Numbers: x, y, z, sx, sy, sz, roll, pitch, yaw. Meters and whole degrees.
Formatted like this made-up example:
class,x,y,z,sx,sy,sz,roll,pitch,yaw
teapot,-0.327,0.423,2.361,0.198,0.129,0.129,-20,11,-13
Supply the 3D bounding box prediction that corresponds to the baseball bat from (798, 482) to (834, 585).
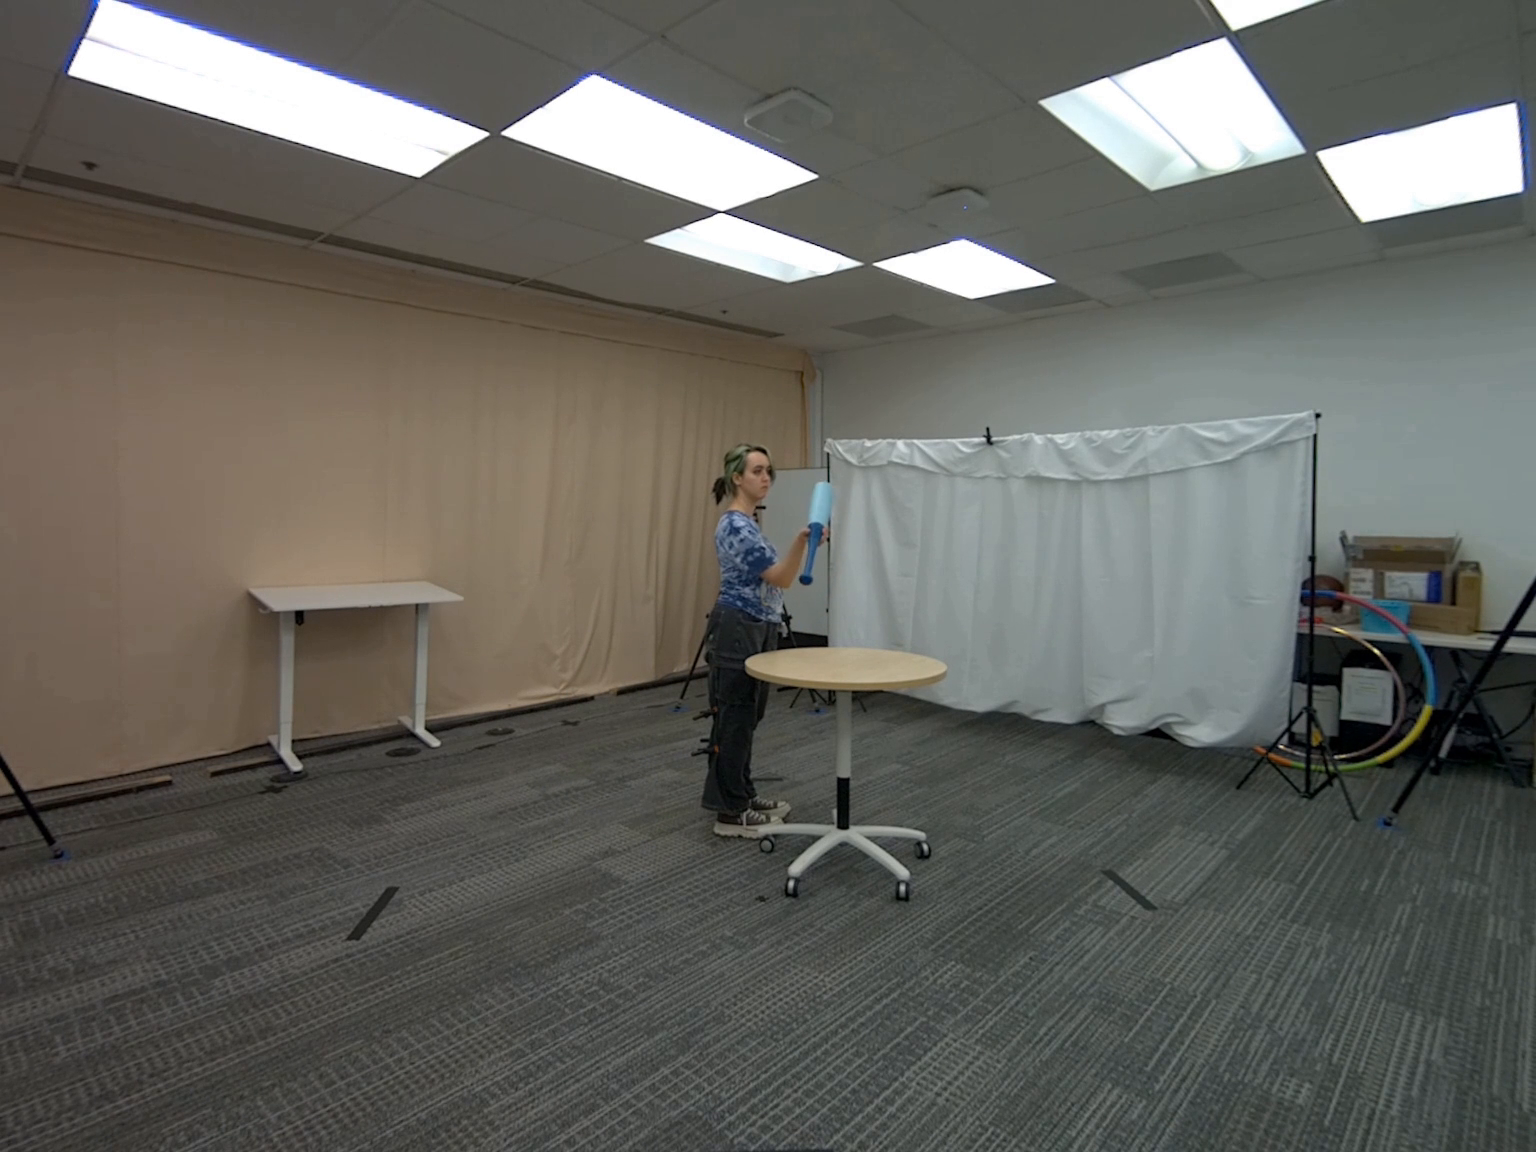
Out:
class,x,y,z,sx,sy,sz,roll,pitch,yaw
baseball bat,0.187,-0.163,3.201,0.090,0.087,0.548,0,44,13
